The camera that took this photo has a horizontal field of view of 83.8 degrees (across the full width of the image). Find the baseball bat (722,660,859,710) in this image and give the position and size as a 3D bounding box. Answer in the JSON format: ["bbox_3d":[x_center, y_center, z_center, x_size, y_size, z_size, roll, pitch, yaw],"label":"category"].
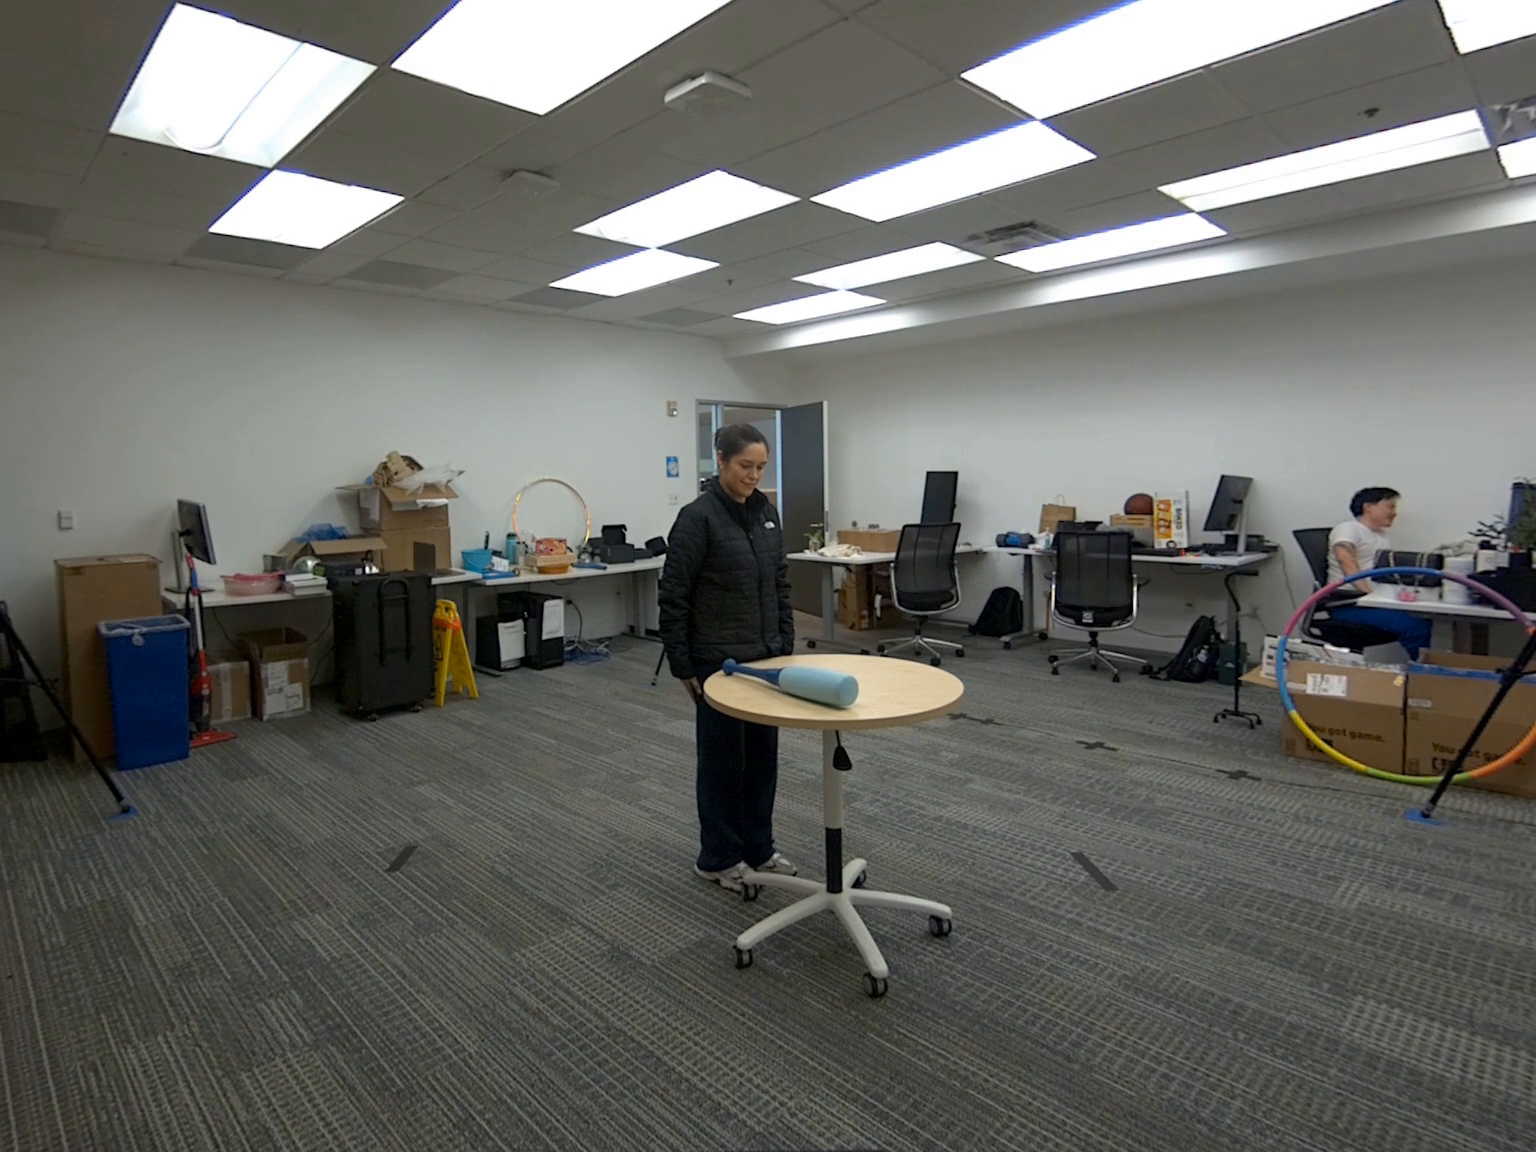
[{"bbox_3d":[0.041,0.301,2.493,0.087,0.089,0.558,-5,4,-38],"label":"baseball bat"}]
